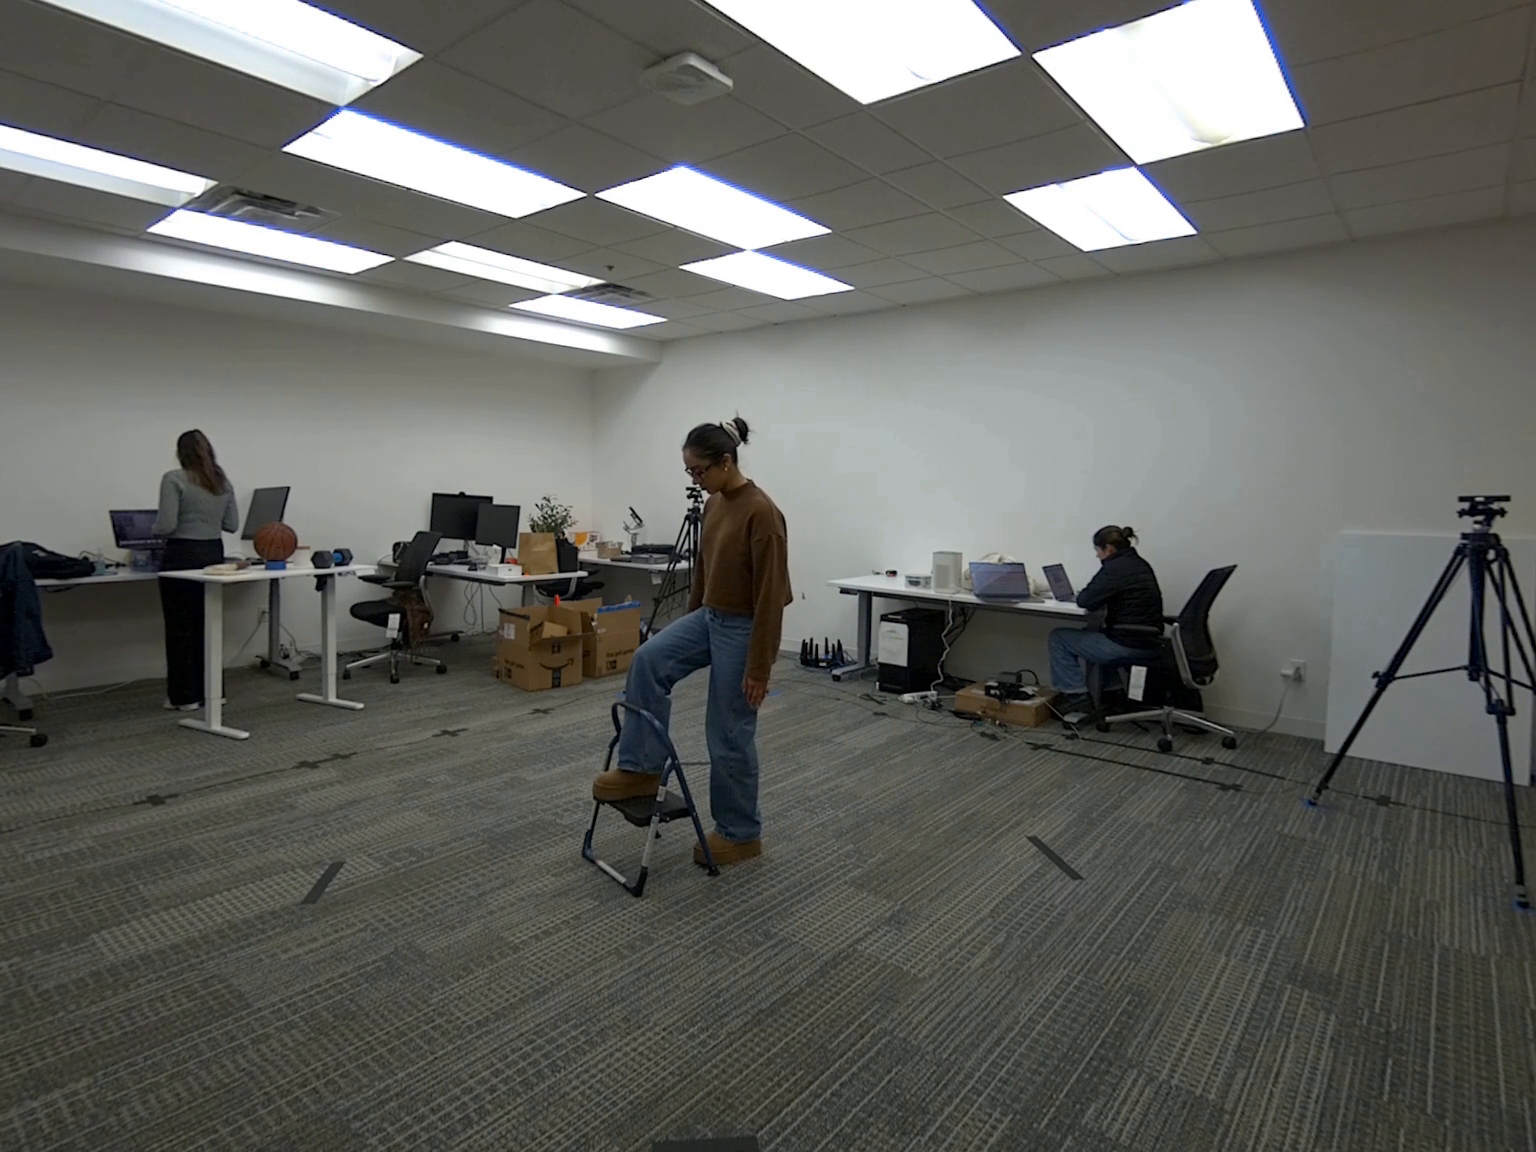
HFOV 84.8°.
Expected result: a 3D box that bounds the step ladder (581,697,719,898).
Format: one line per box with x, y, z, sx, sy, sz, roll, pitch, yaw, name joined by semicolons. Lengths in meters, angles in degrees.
-0.446;0.757;3.118;0.339;0.604;0.445;-2;5;-39;step ladder
